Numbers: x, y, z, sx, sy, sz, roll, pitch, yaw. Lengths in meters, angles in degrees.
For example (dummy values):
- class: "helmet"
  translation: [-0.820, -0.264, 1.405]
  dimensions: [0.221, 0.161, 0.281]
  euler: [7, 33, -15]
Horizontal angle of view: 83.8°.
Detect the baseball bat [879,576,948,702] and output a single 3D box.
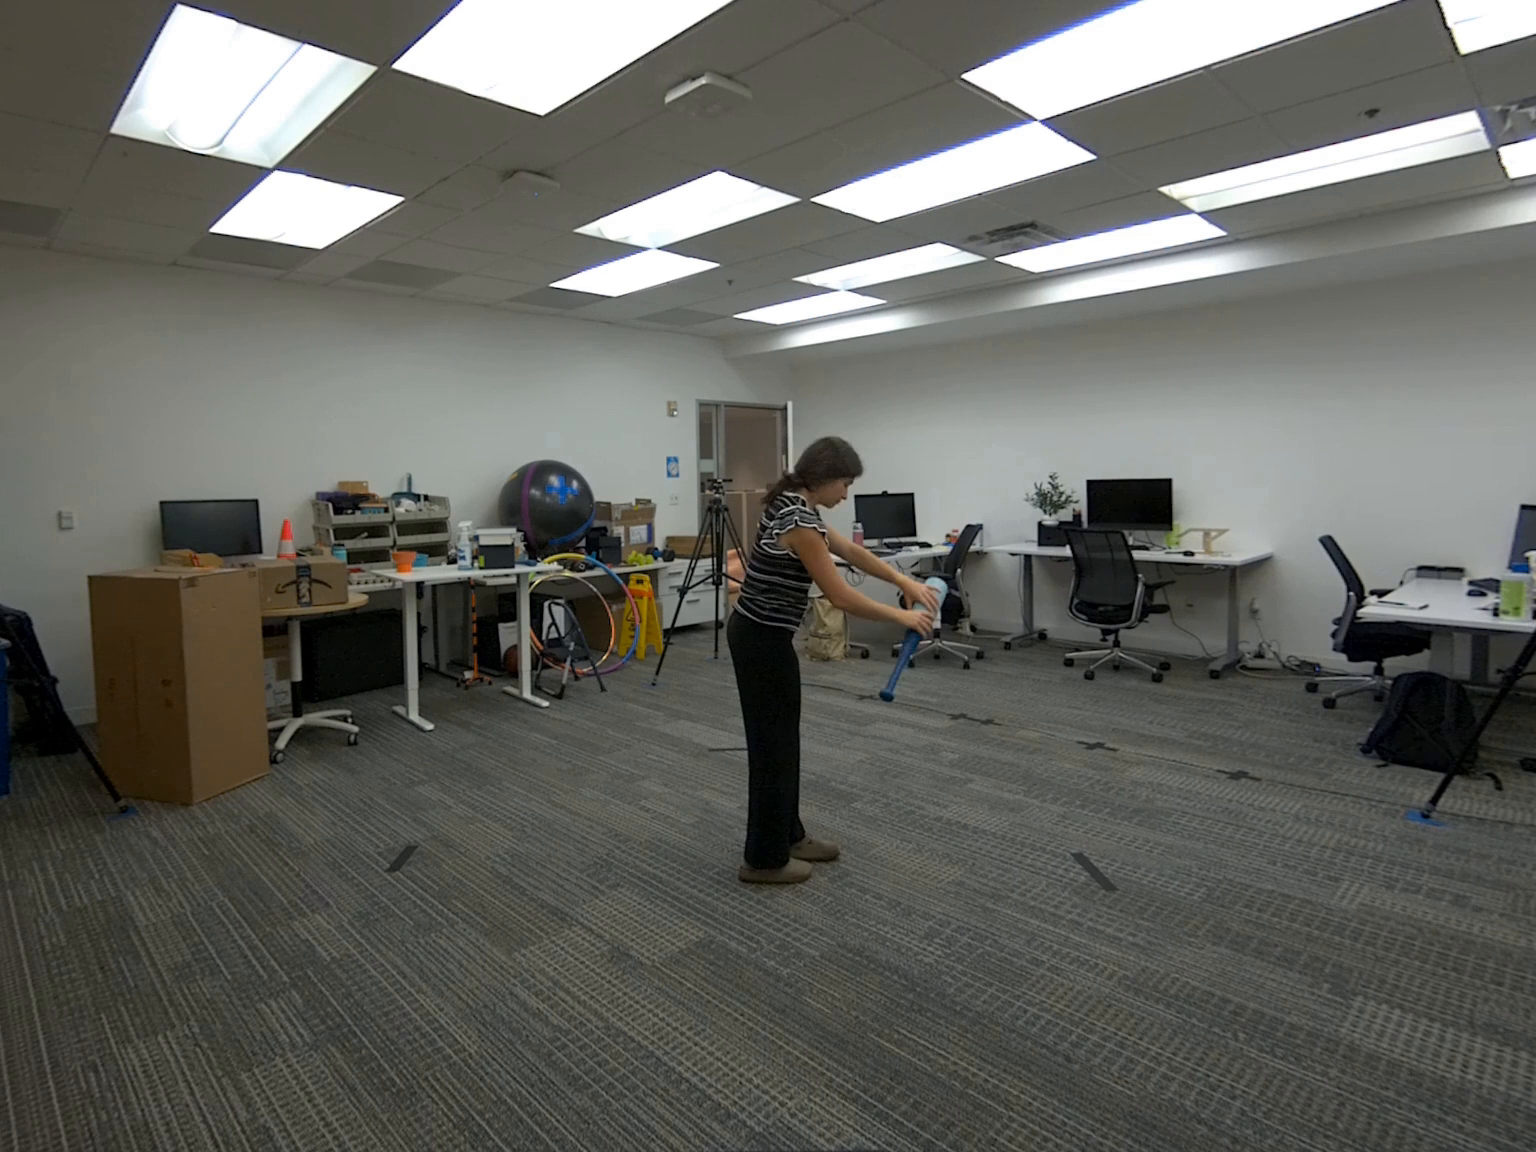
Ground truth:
- class: "baseball bat"
  translation: [0.498, 0.220, 2.948]
  dimensions: [0.091, 0.086, 0.545]
  euler: [2, 42, 35]
